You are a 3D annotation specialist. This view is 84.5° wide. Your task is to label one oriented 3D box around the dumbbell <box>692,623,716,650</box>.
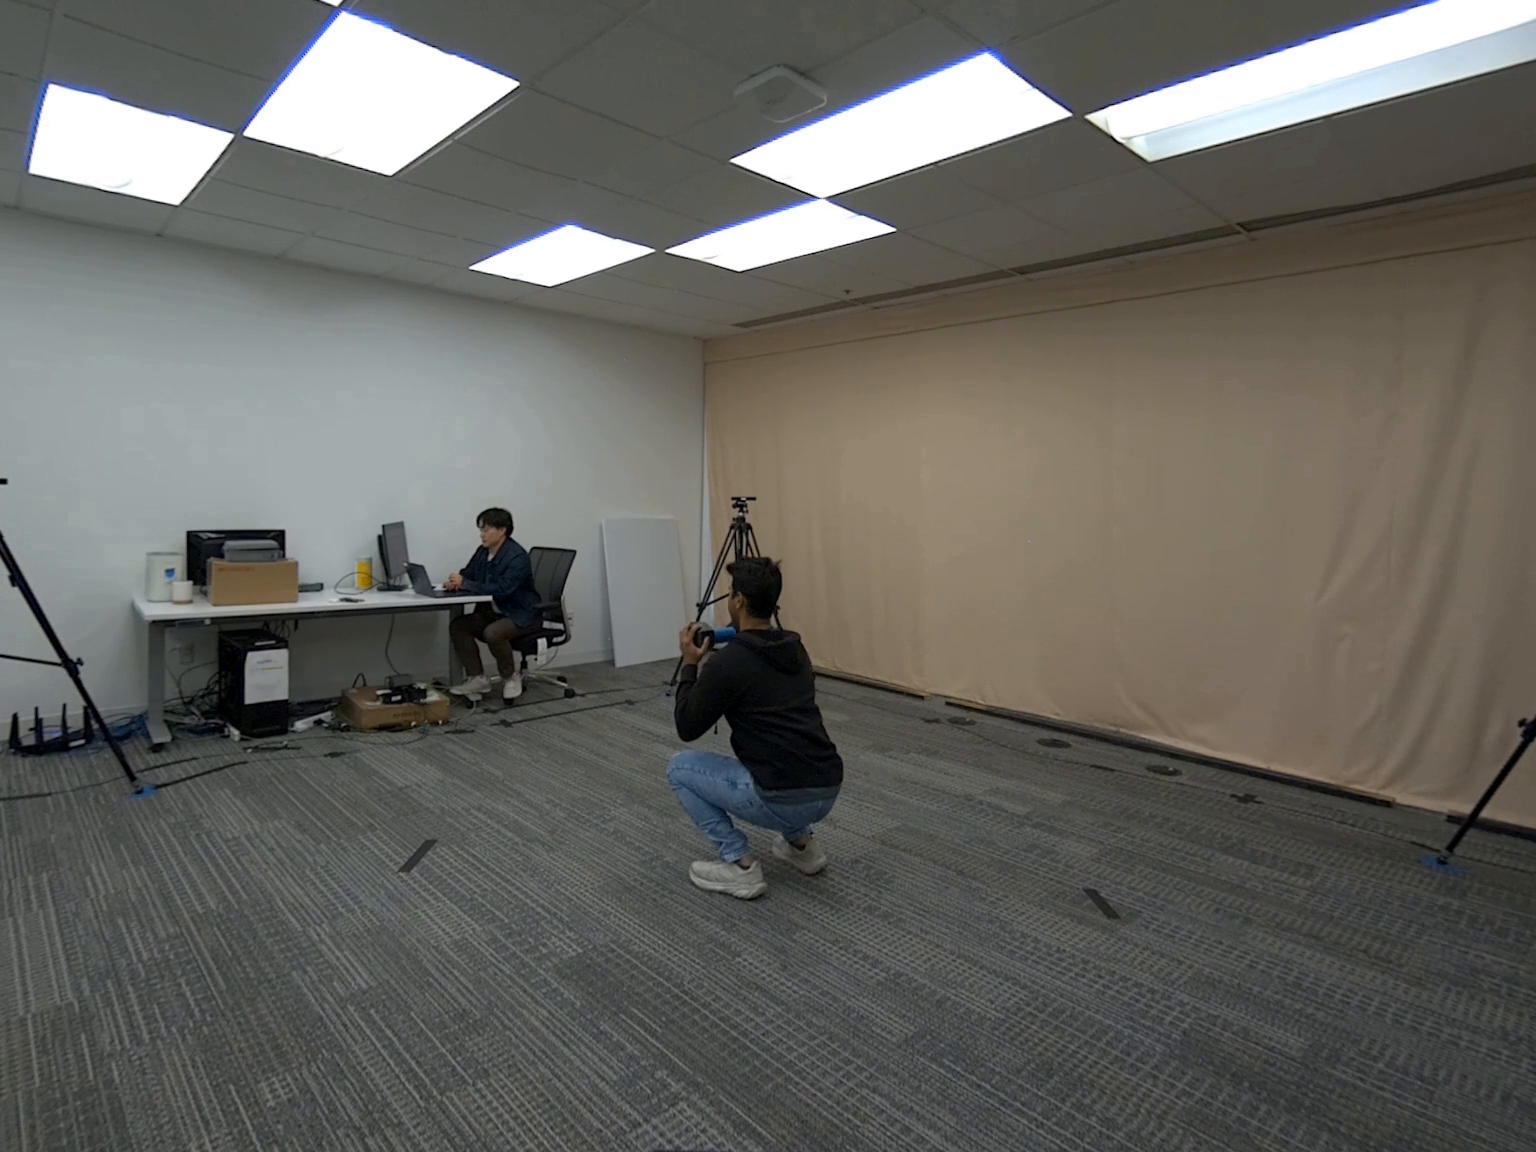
[{"bbox_3d":[-0.185,0.231,3.287,0.287,0.123,0.111,-5,3,-41],"label":"dumbbell"}]
